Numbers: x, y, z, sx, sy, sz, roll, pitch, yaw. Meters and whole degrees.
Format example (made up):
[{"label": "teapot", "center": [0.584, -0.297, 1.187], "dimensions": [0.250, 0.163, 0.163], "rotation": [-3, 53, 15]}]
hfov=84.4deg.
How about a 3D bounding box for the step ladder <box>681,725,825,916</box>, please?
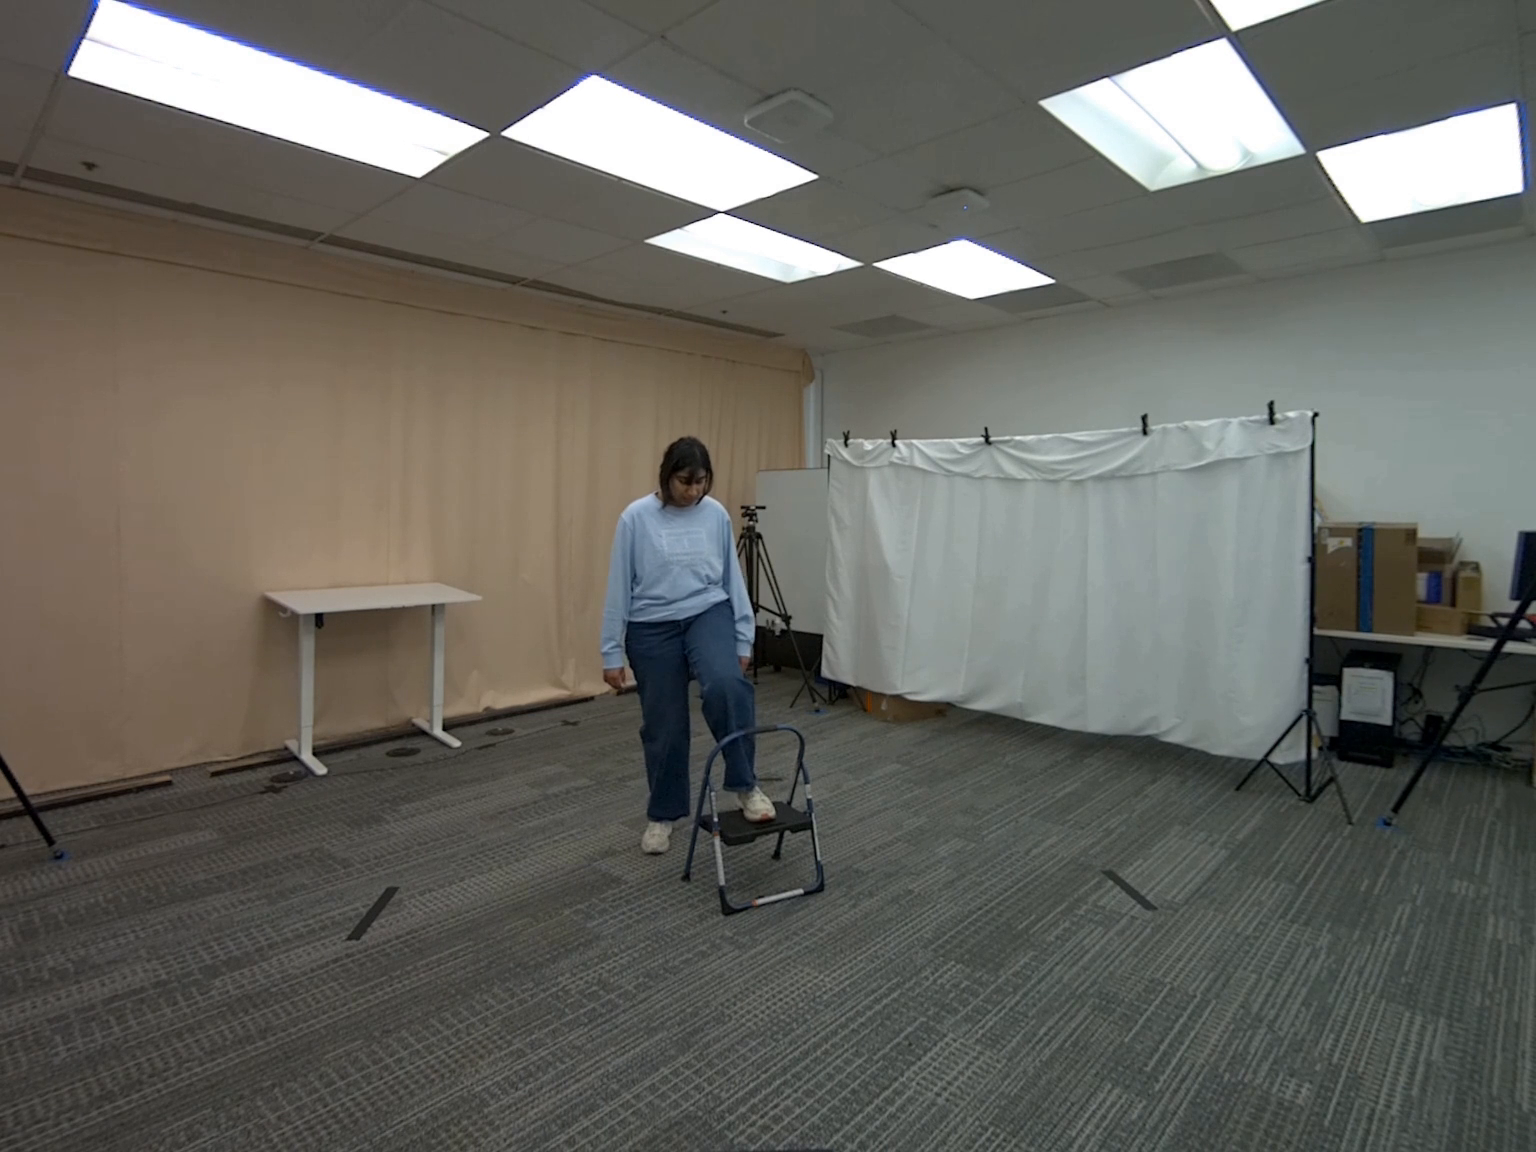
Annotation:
[{"label": "step ladder", "center": [-0.054, 0.834, 3.081], "dimensions": [0.419, 0.605, 0.359], "rotation": [-2, 4, -30]}]
